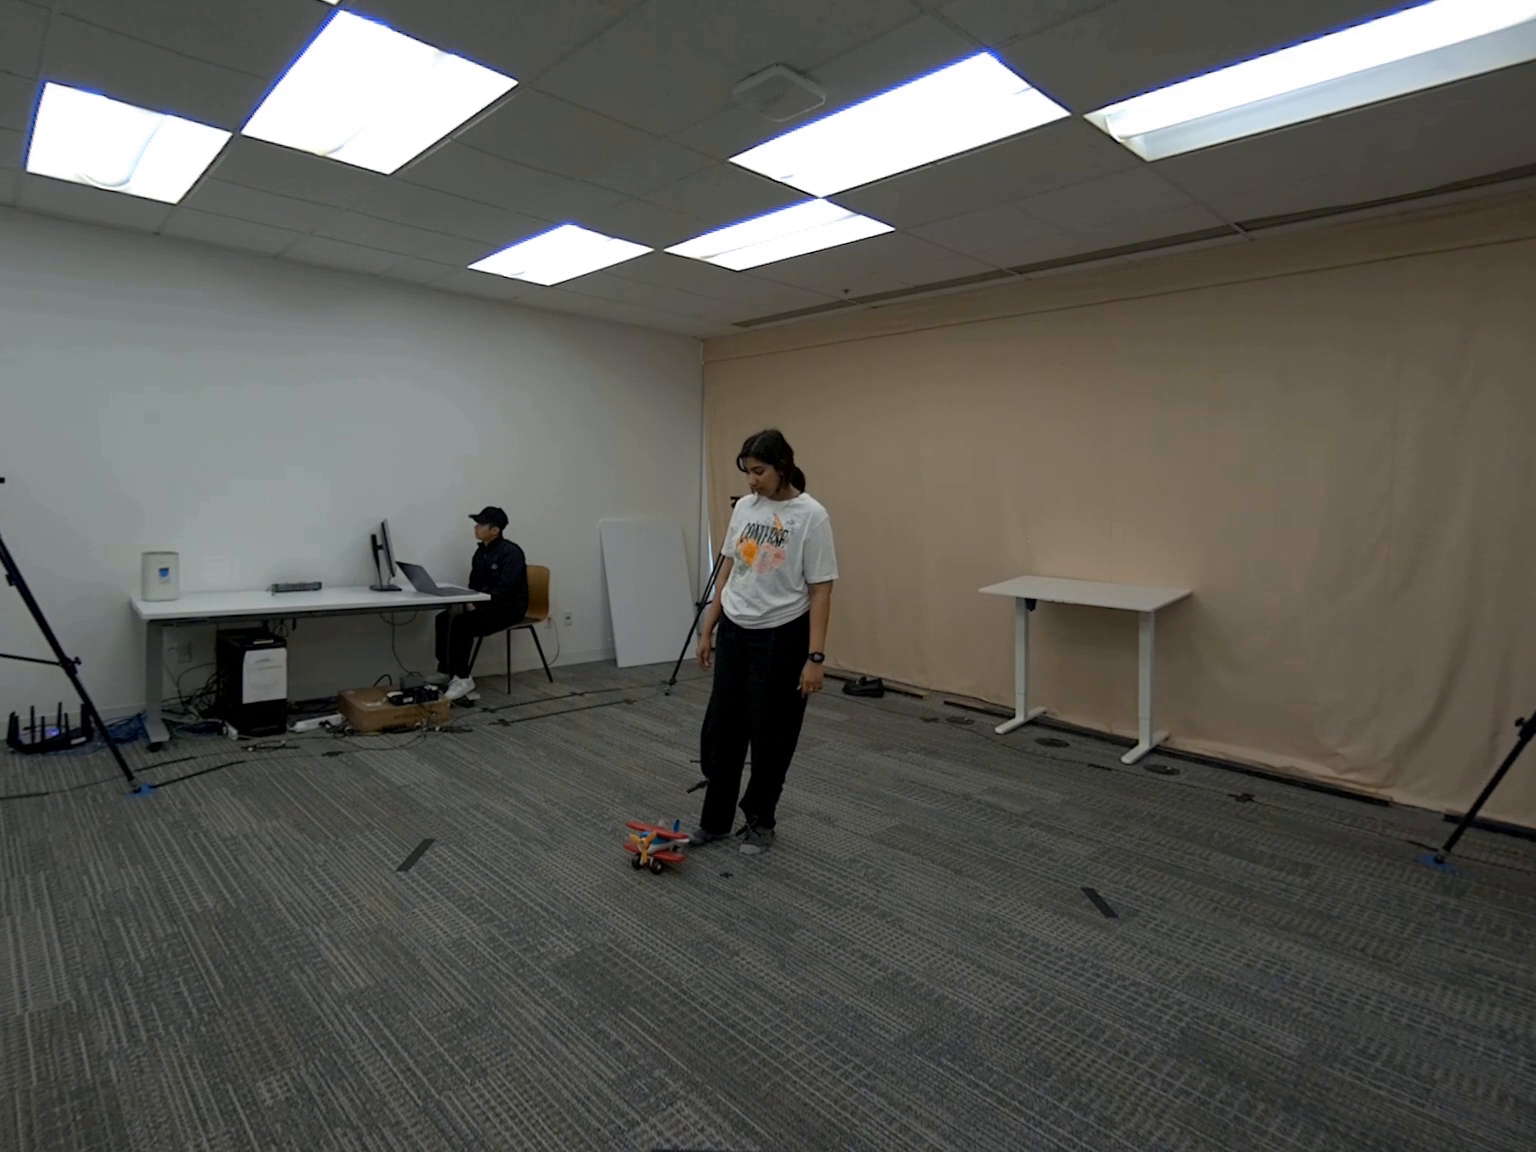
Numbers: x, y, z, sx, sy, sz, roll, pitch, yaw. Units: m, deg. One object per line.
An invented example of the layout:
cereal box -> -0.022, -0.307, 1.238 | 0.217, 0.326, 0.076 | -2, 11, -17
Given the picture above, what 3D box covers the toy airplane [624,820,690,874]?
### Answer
toy airplane -> -0.434, 1.013, 3.201 | 0.251, 0.156, 0.260 | 1, 5, -2
